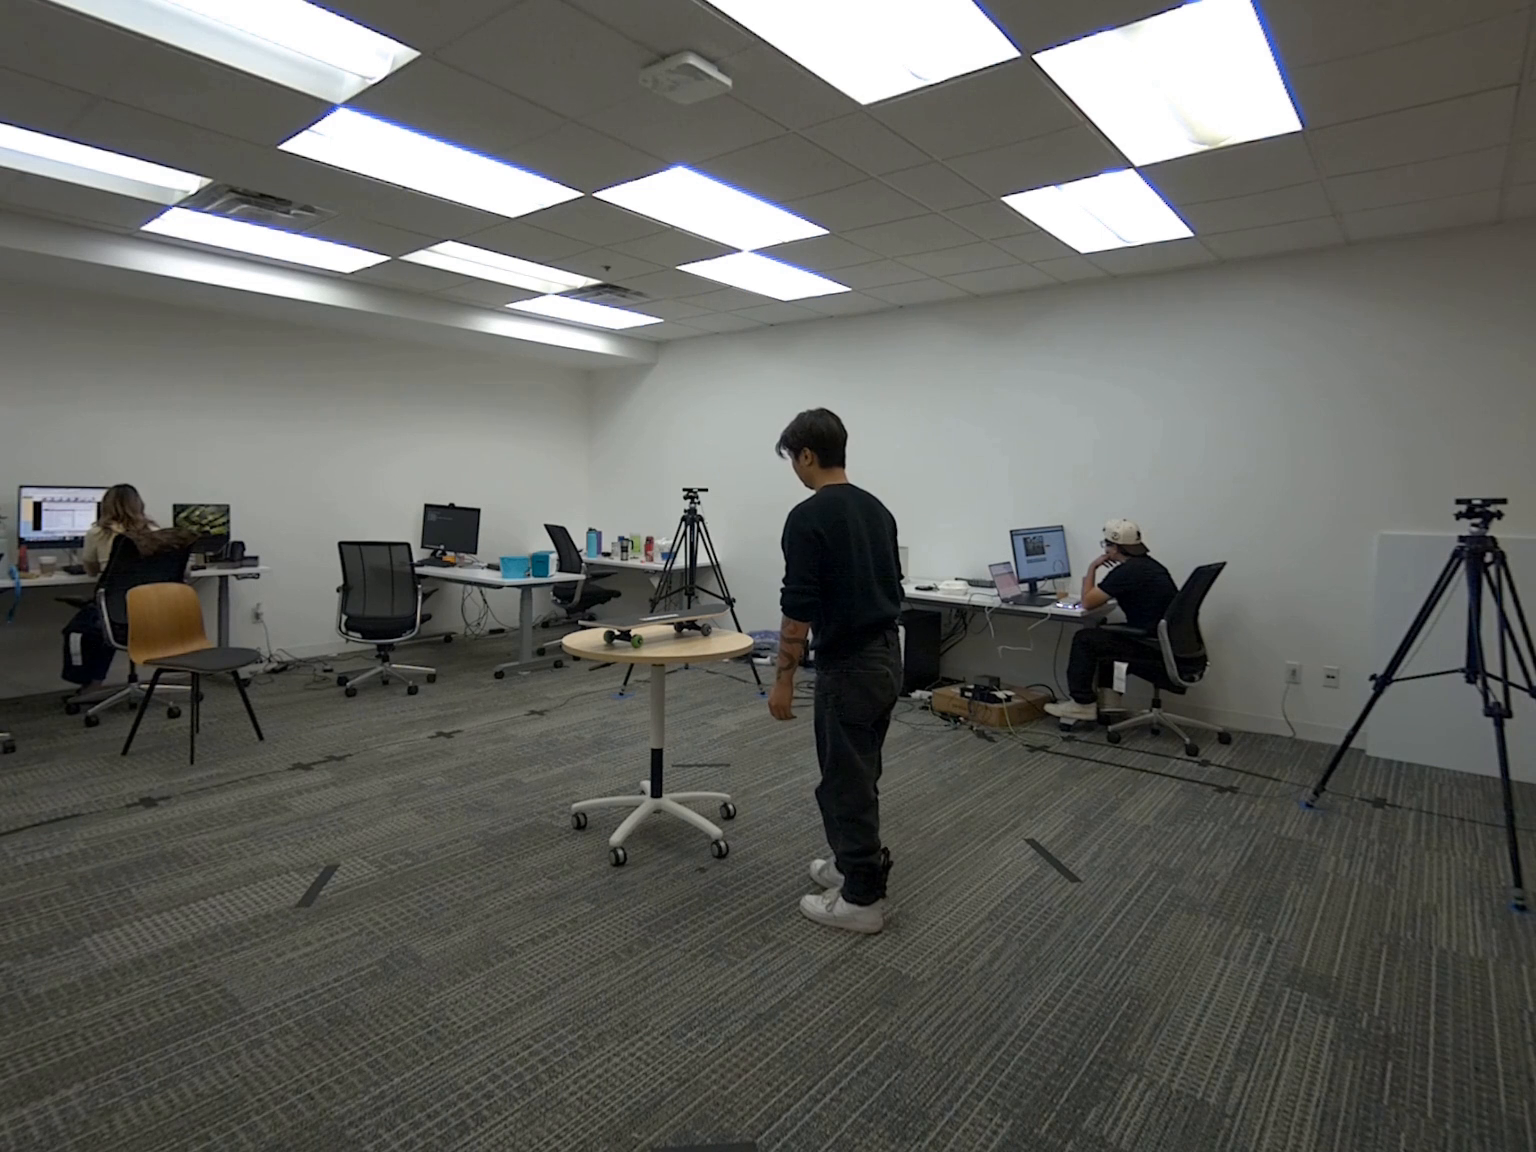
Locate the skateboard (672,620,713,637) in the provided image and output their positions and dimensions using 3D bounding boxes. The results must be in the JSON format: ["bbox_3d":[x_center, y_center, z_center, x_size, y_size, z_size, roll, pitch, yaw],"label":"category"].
[{"bbox_3d":[-0.430,0.202,3.422,0.200,0.110,0.763,4,6,38],"label":"skateboard"}]
